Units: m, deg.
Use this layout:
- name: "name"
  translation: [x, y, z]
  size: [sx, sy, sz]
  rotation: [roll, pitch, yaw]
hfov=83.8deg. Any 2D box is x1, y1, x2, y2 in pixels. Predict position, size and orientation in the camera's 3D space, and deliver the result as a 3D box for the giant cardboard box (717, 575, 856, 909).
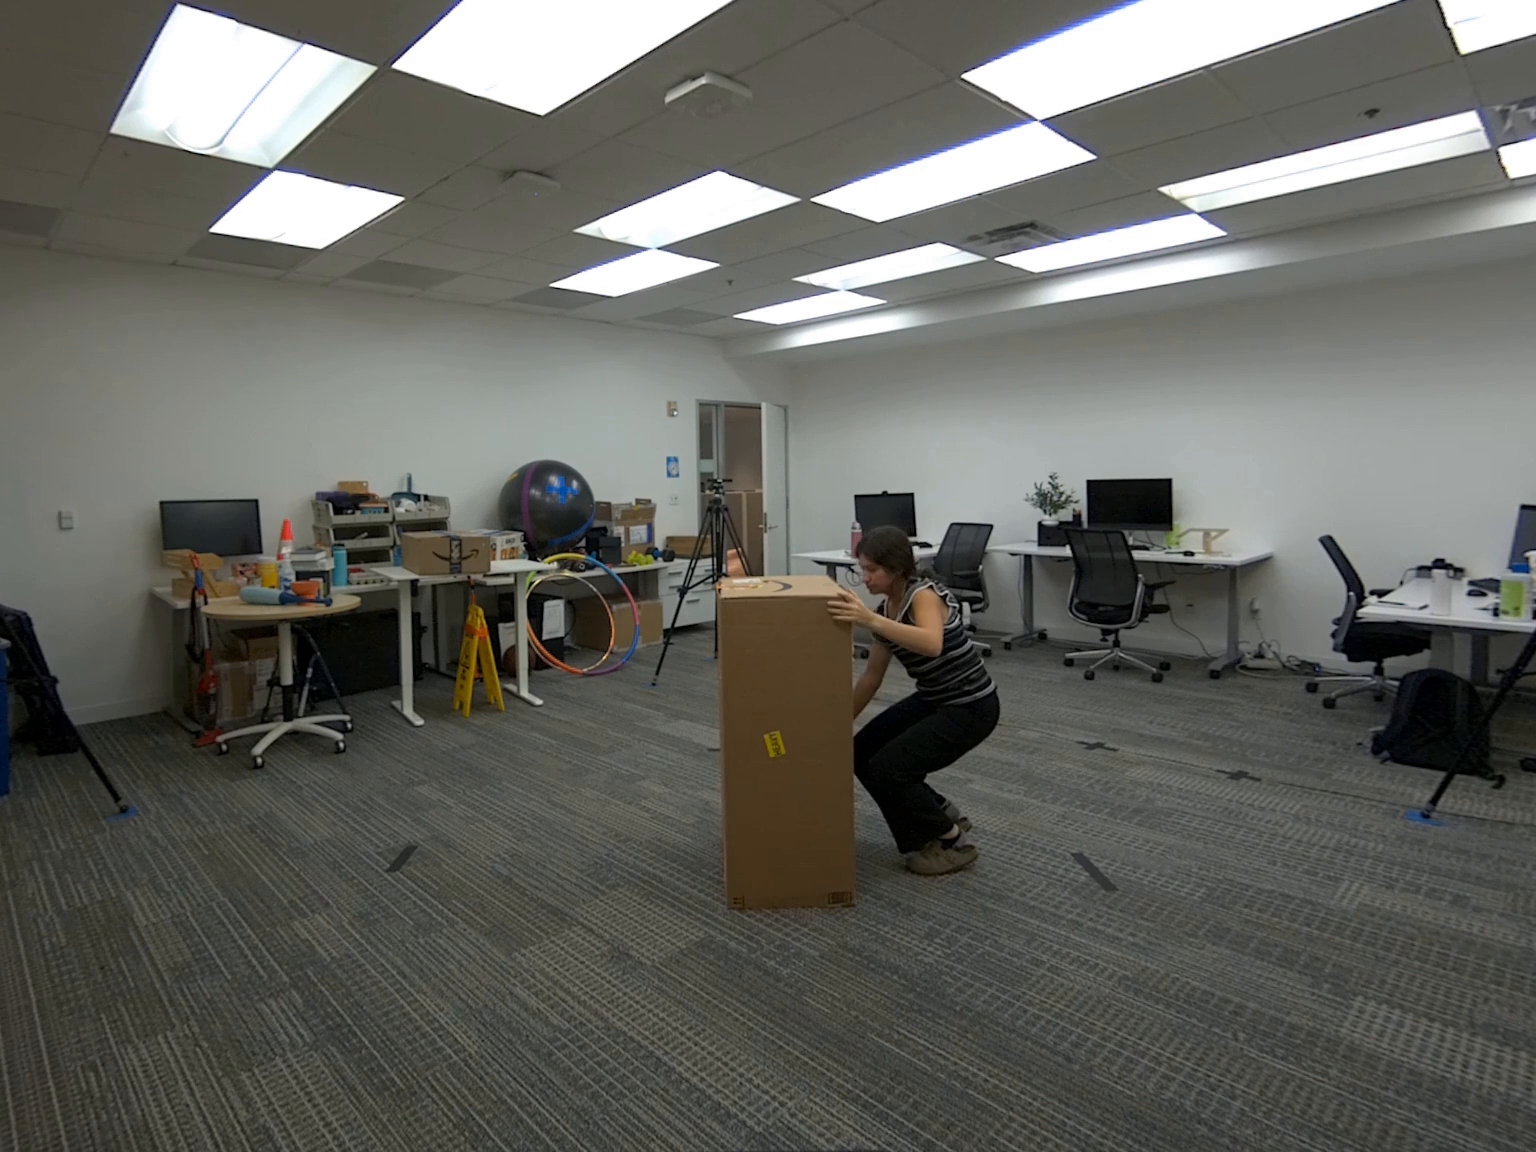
- name: "giant cardboard box"
  translation: [0.047, 0.543, 3.025]
  size: [0.425, 1.022, 0.581]
  rotation: [-1, 4, -3]
